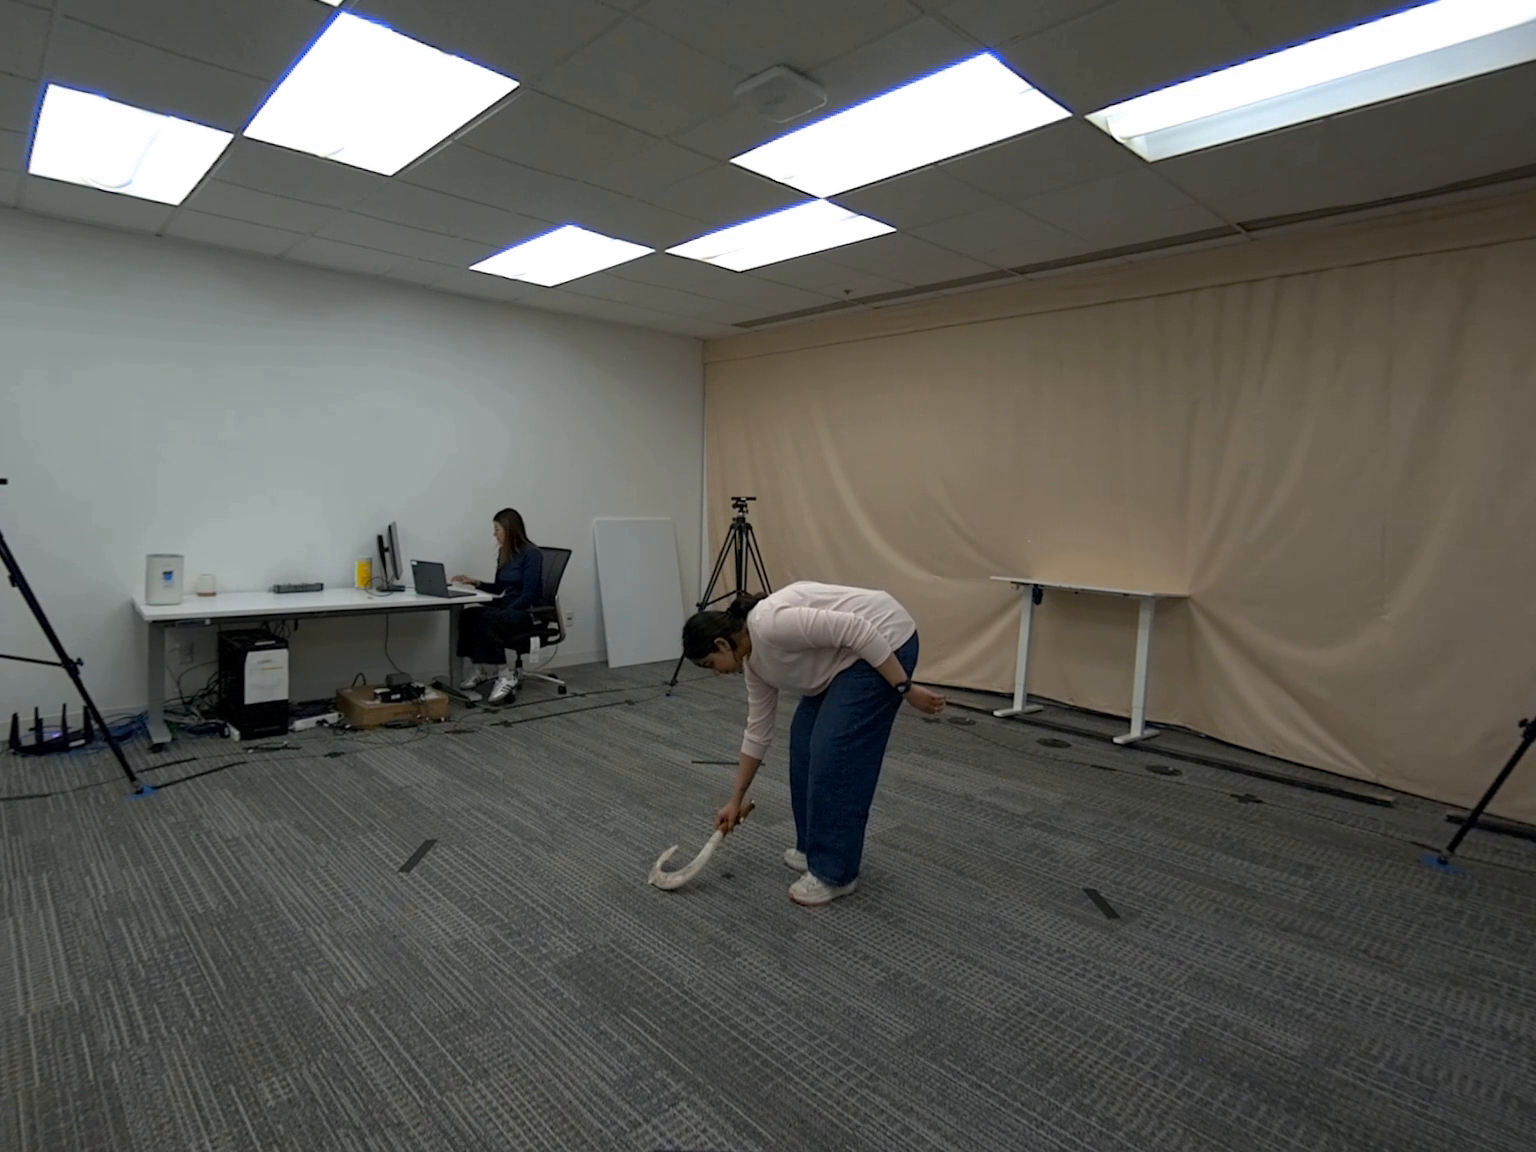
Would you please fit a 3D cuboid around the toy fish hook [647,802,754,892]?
[{"bbox_3d":[-0.244,0.986,3.160,0.230,0.047,0.502,1,24,43],"label":"toy fish hook"}]
